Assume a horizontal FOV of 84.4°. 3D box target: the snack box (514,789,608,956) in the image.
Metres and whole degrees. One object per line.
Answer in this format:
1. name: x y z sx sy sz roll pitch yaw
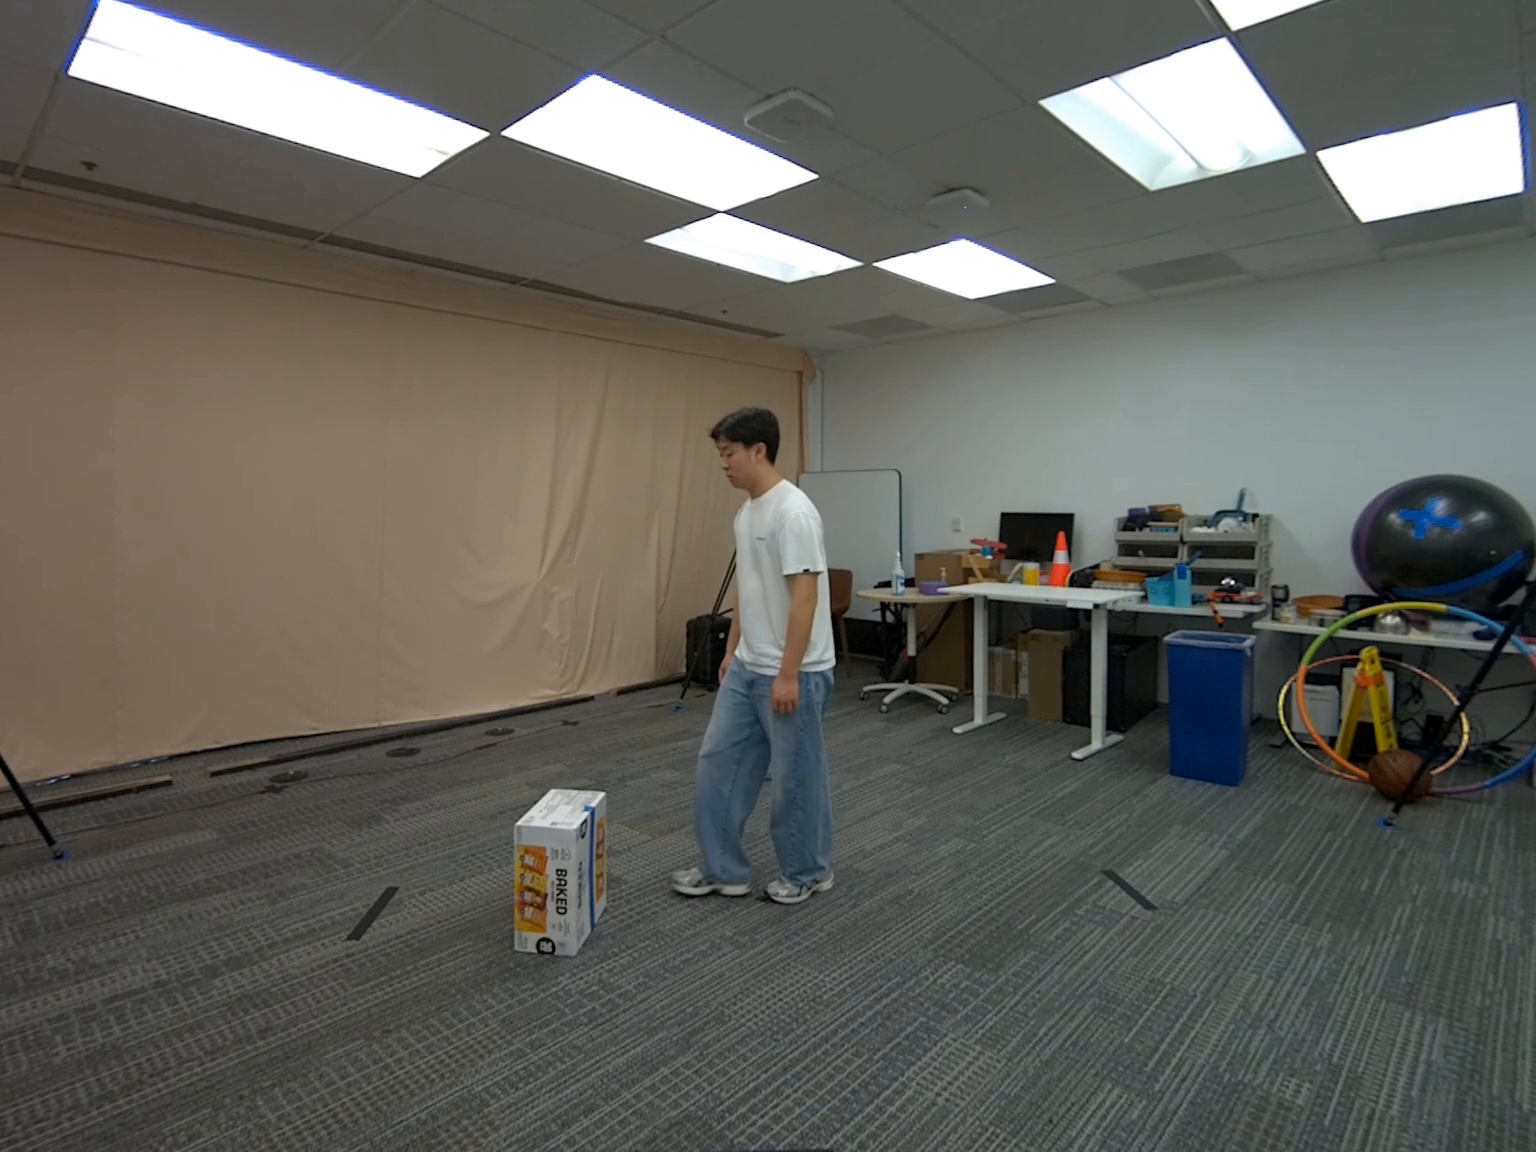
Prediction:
1. snack box: -0.682 0.966 2.765 0.207 0.404 0.338 2 3 6
